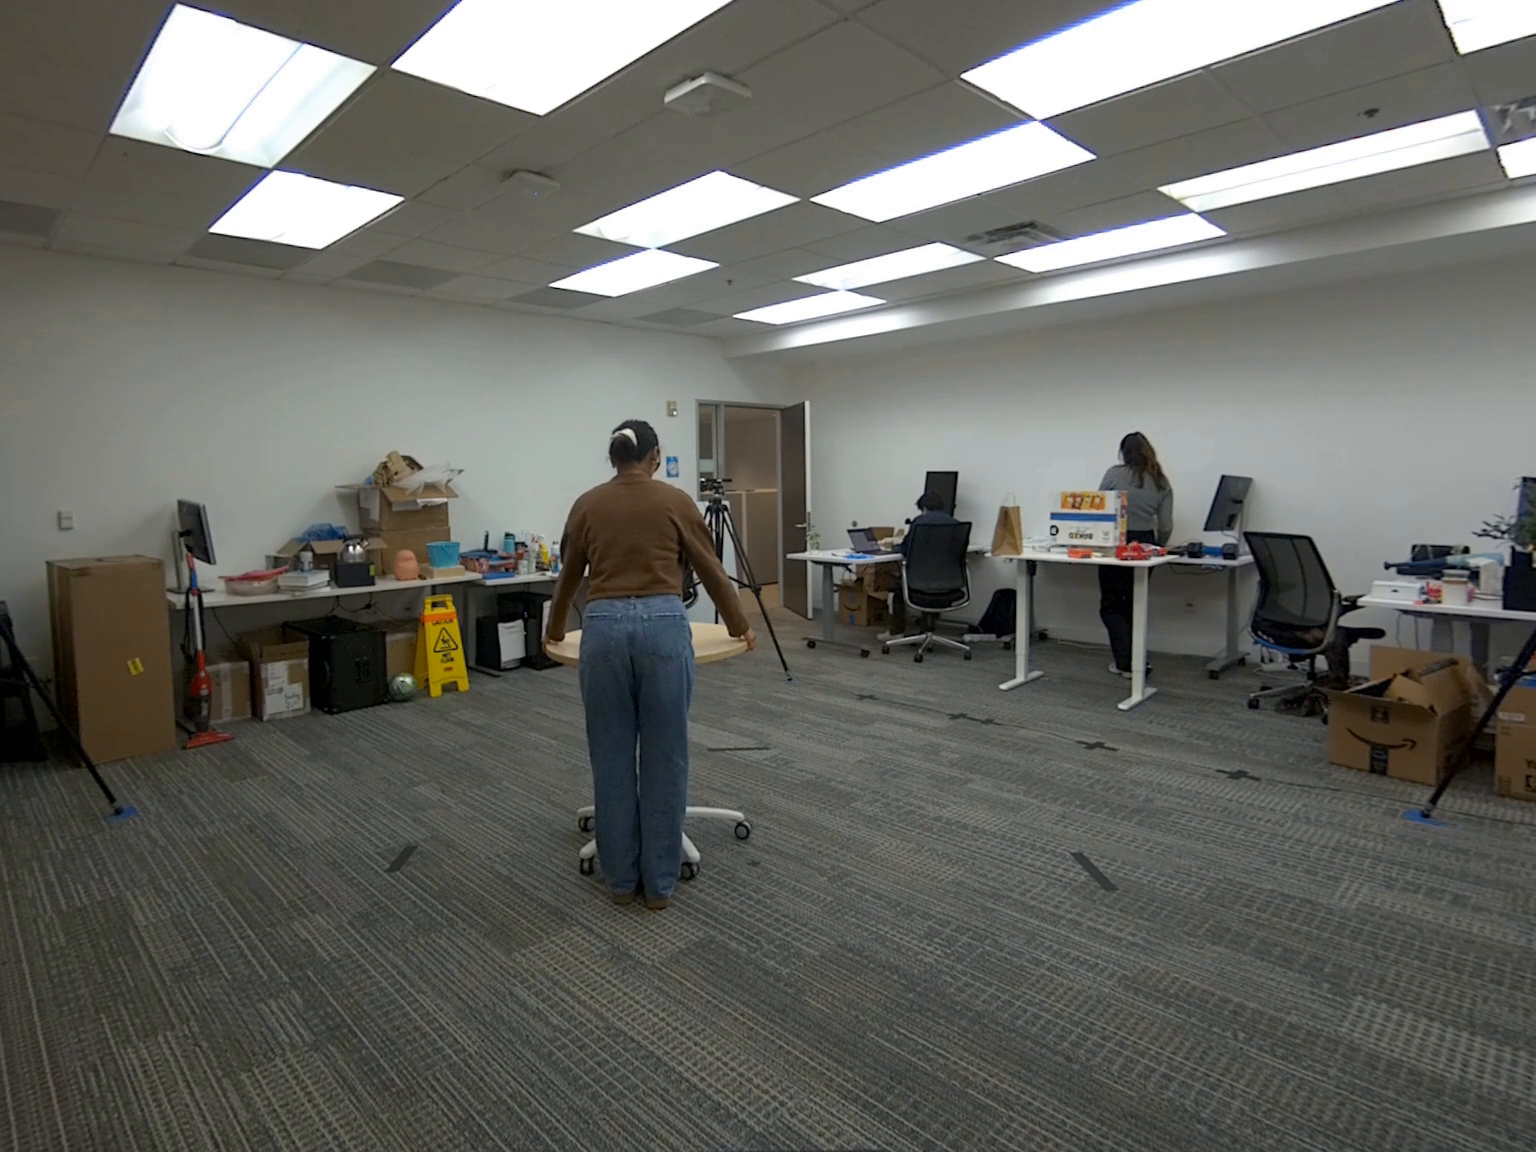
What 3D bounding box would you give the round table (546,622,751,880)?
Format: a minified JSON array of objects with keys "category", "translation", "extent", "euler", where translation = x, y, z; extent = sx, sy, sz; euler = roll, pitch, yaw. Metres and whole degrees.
[{"category":"round table","translation":[-0.446,0.634,3.274],"extent":[0.784,0.784,0.789],"euler":[-2,4,-2]}]
